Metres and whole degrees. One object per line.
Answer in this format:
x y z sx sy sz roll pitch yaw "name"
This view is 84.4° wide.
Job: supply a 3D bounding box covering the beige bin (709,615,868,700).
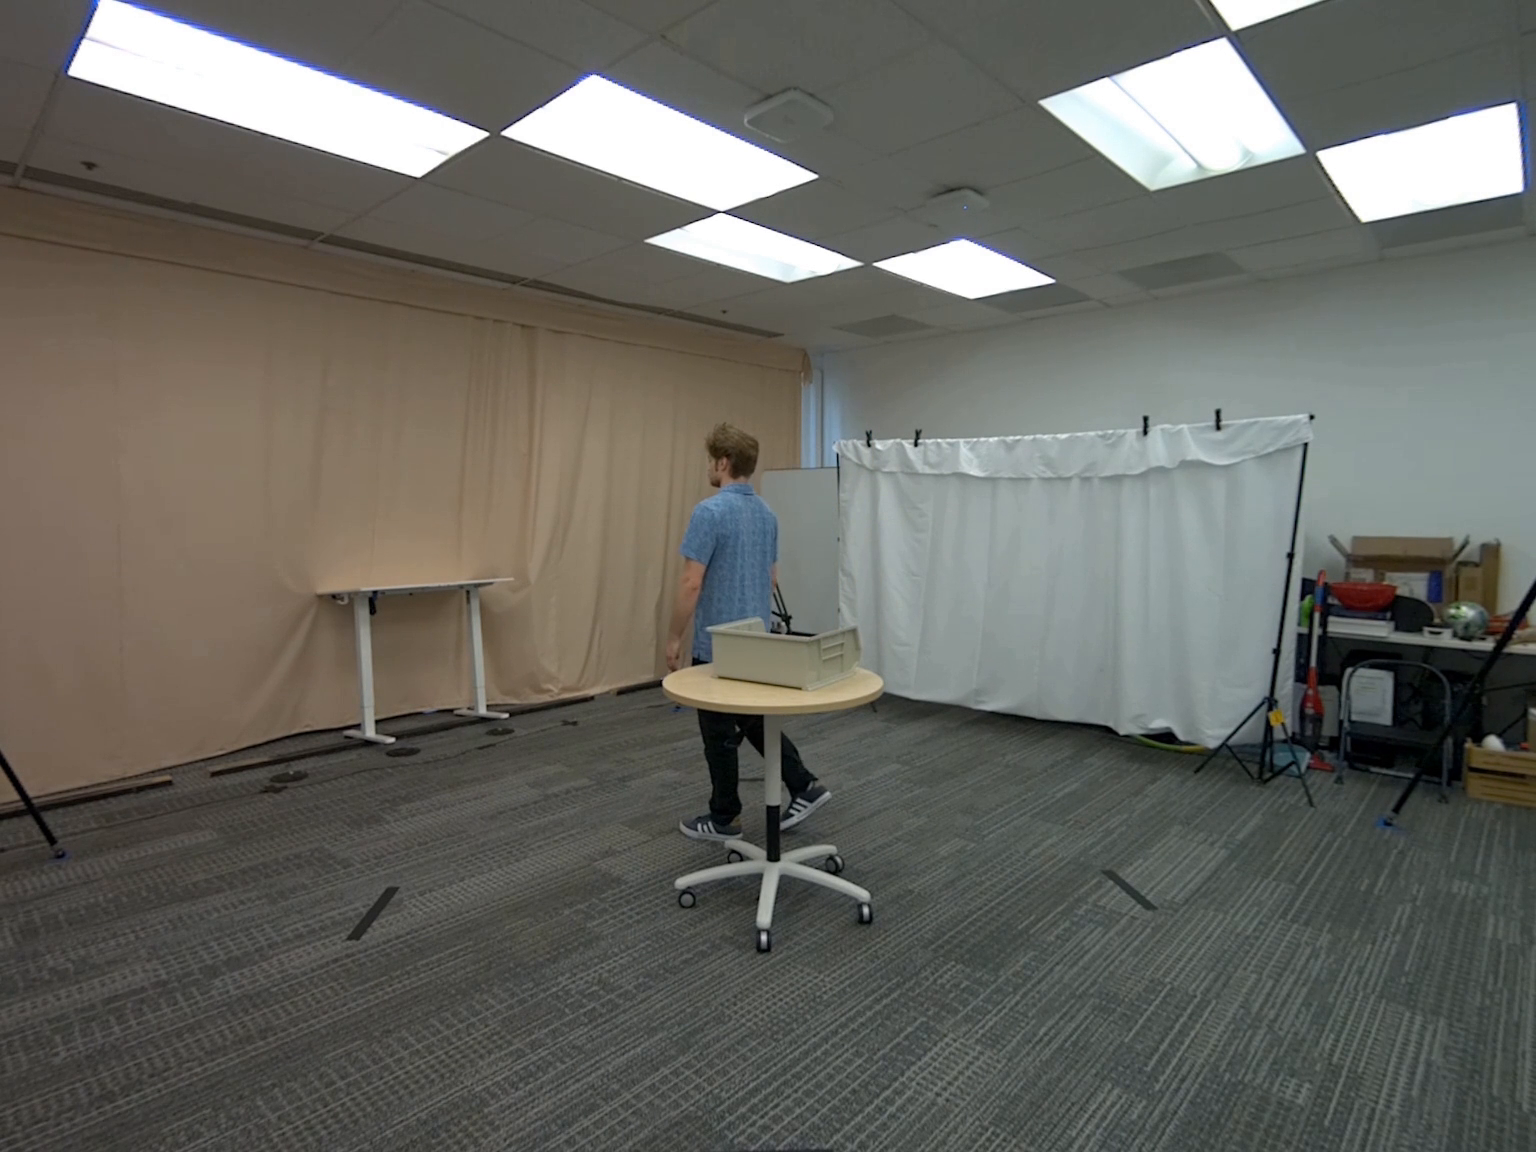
0.073 0.273 2.997 0.435 0.188 0.367 4 7 34 "beige bin"
